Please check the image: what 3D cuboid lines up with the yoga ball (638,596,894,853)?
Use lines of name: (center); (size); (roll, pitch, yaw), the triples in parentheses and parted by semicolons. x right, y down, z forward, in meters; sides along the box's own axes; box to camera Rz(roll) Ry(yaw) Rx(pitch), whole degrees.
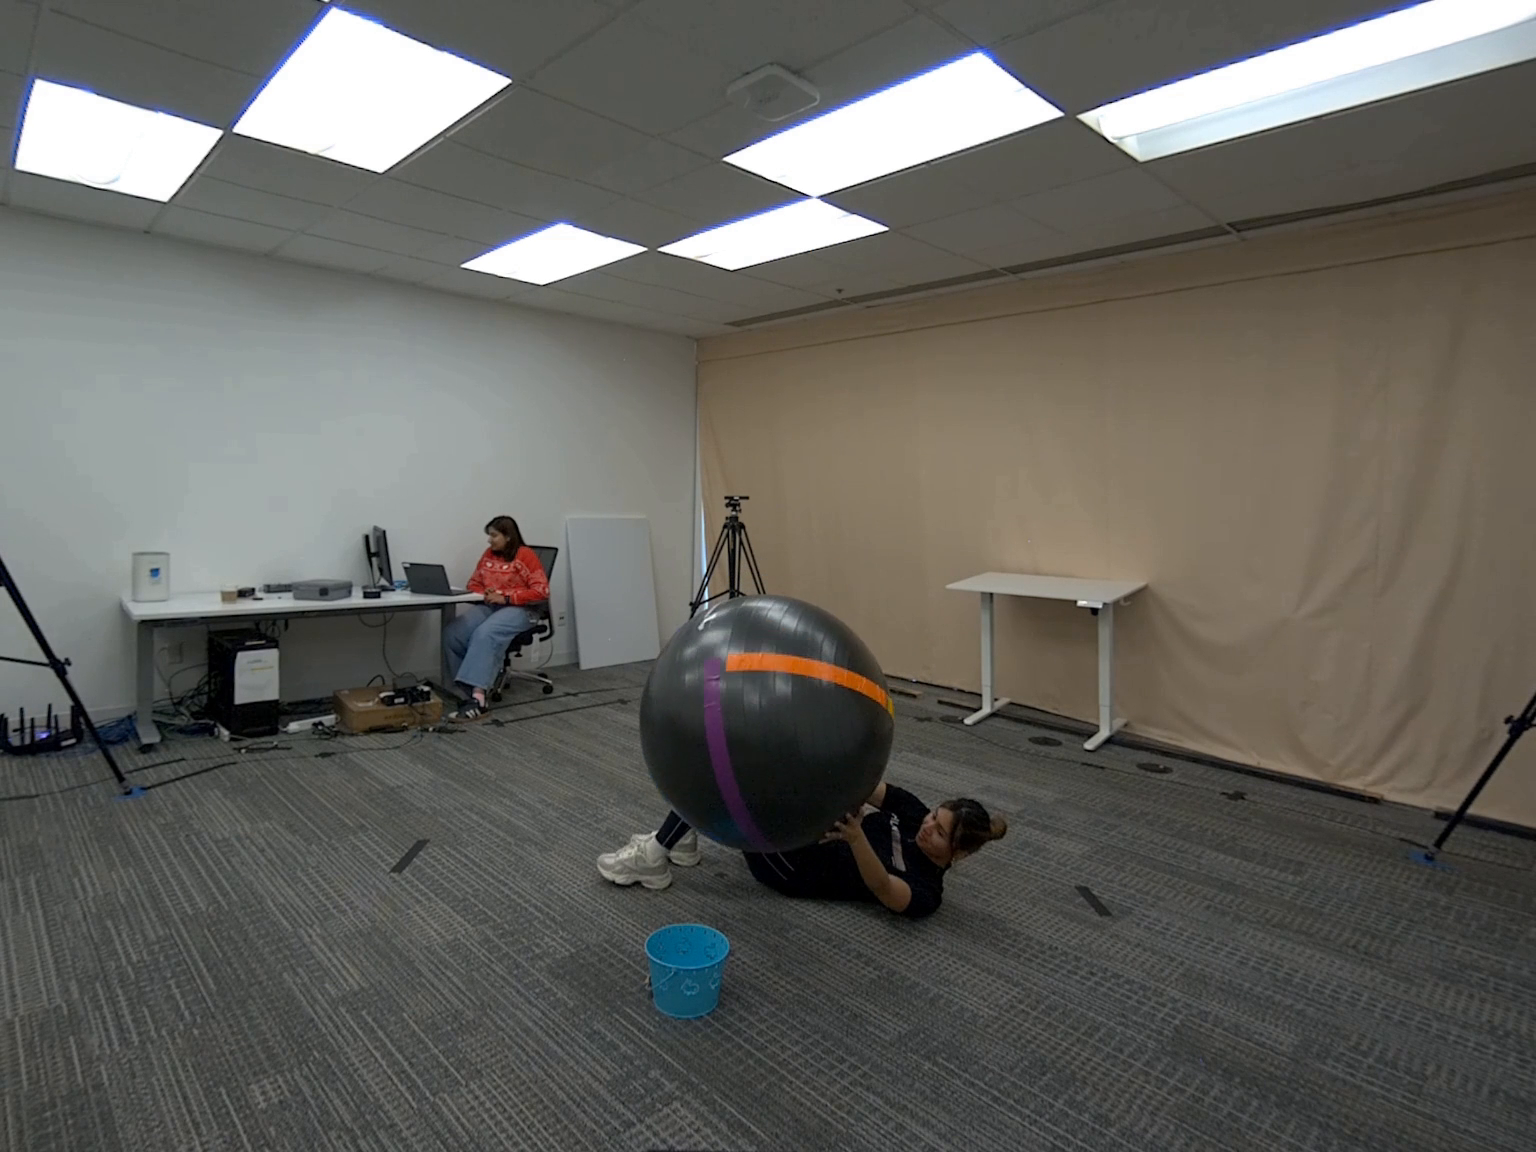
yoga ball: (0.002, 0.437, 2.549); (0.757, 0.756, 0.761); (1, 4, -1)
